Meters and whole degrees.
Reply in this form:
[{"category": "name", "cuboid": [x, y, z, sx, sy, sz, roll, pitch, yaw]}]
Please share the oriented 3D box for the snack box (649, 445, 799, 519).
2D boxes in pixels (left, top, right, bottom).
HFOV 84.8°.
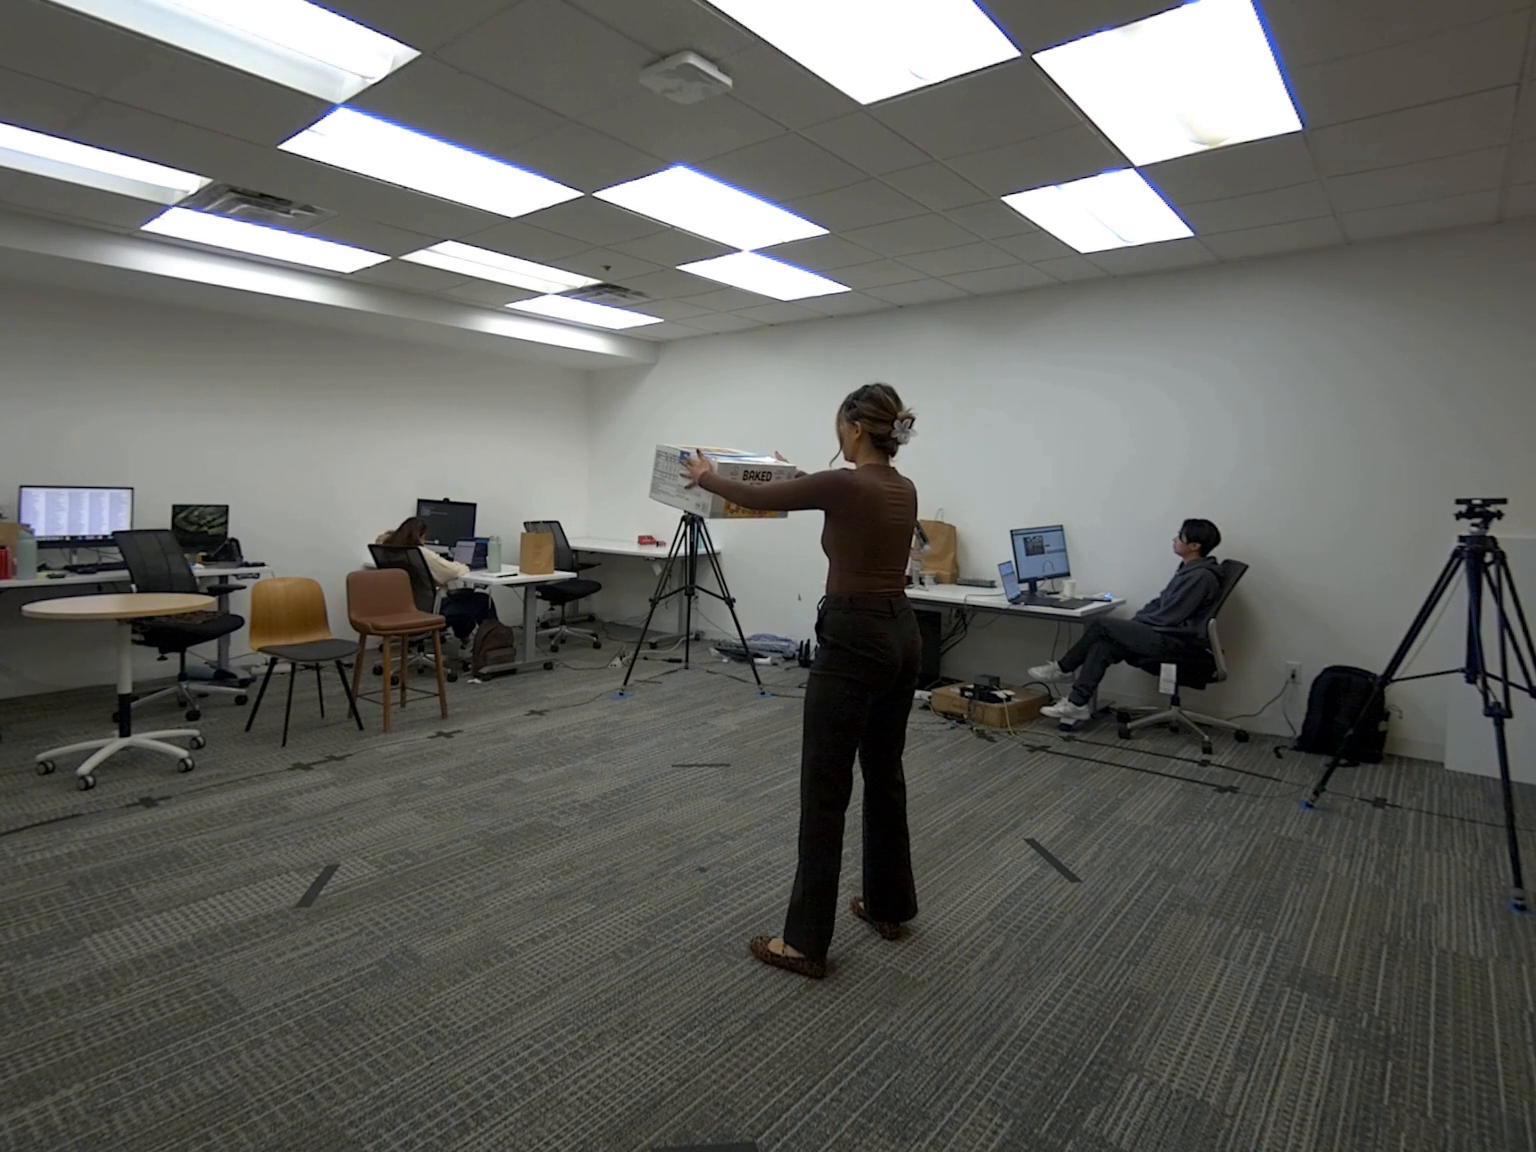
[{"category": "snack box", "cuboid": [-0.180, -0.343, 3.122, 0.393, 0.204, 0.354, -4, 18, -45]}]
